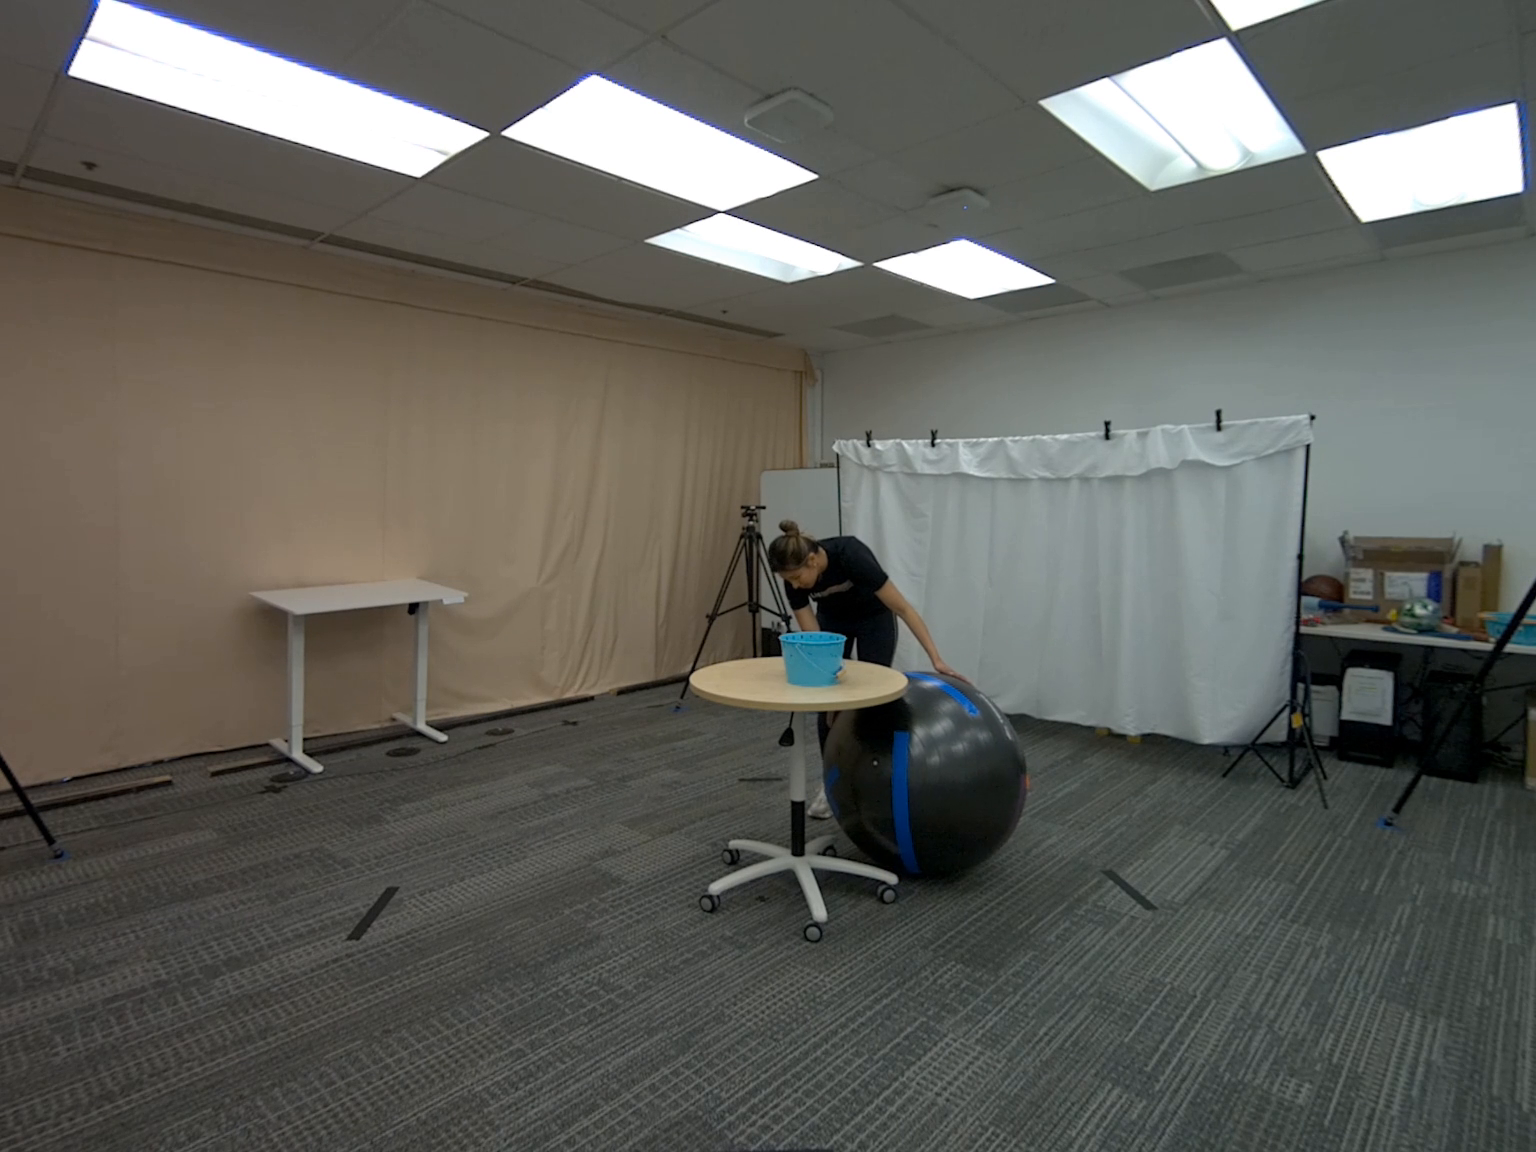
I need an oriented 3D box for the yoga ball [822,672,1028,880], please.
[{"bbox_3d":[0.608,0.755,3.234,0.757,0.756,0.761,0,4,-2],"label":"yoga ball"}]
